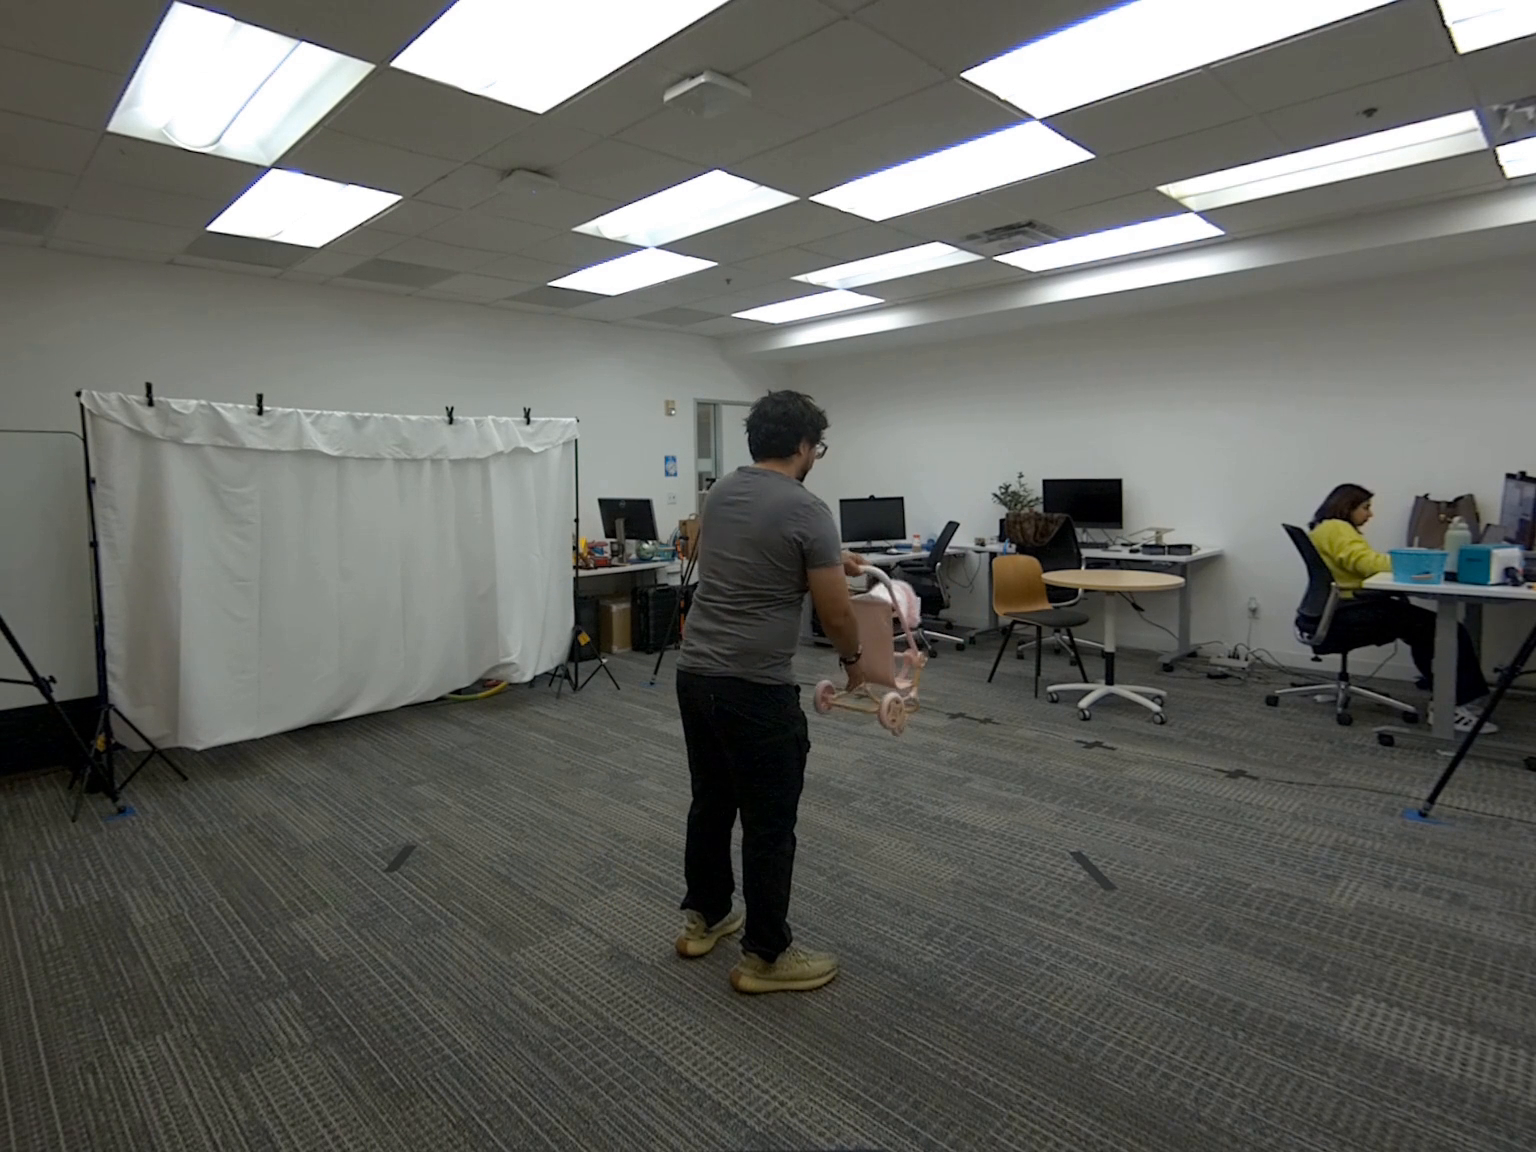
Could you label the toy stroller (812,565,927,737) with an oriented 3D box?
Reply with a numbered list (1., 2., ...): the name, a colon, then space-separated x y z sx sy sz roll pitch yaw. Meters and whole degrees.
1. toy stroller: 0.365 0.253 2.698 0.330 0.536 0.290 7 -4 -42
